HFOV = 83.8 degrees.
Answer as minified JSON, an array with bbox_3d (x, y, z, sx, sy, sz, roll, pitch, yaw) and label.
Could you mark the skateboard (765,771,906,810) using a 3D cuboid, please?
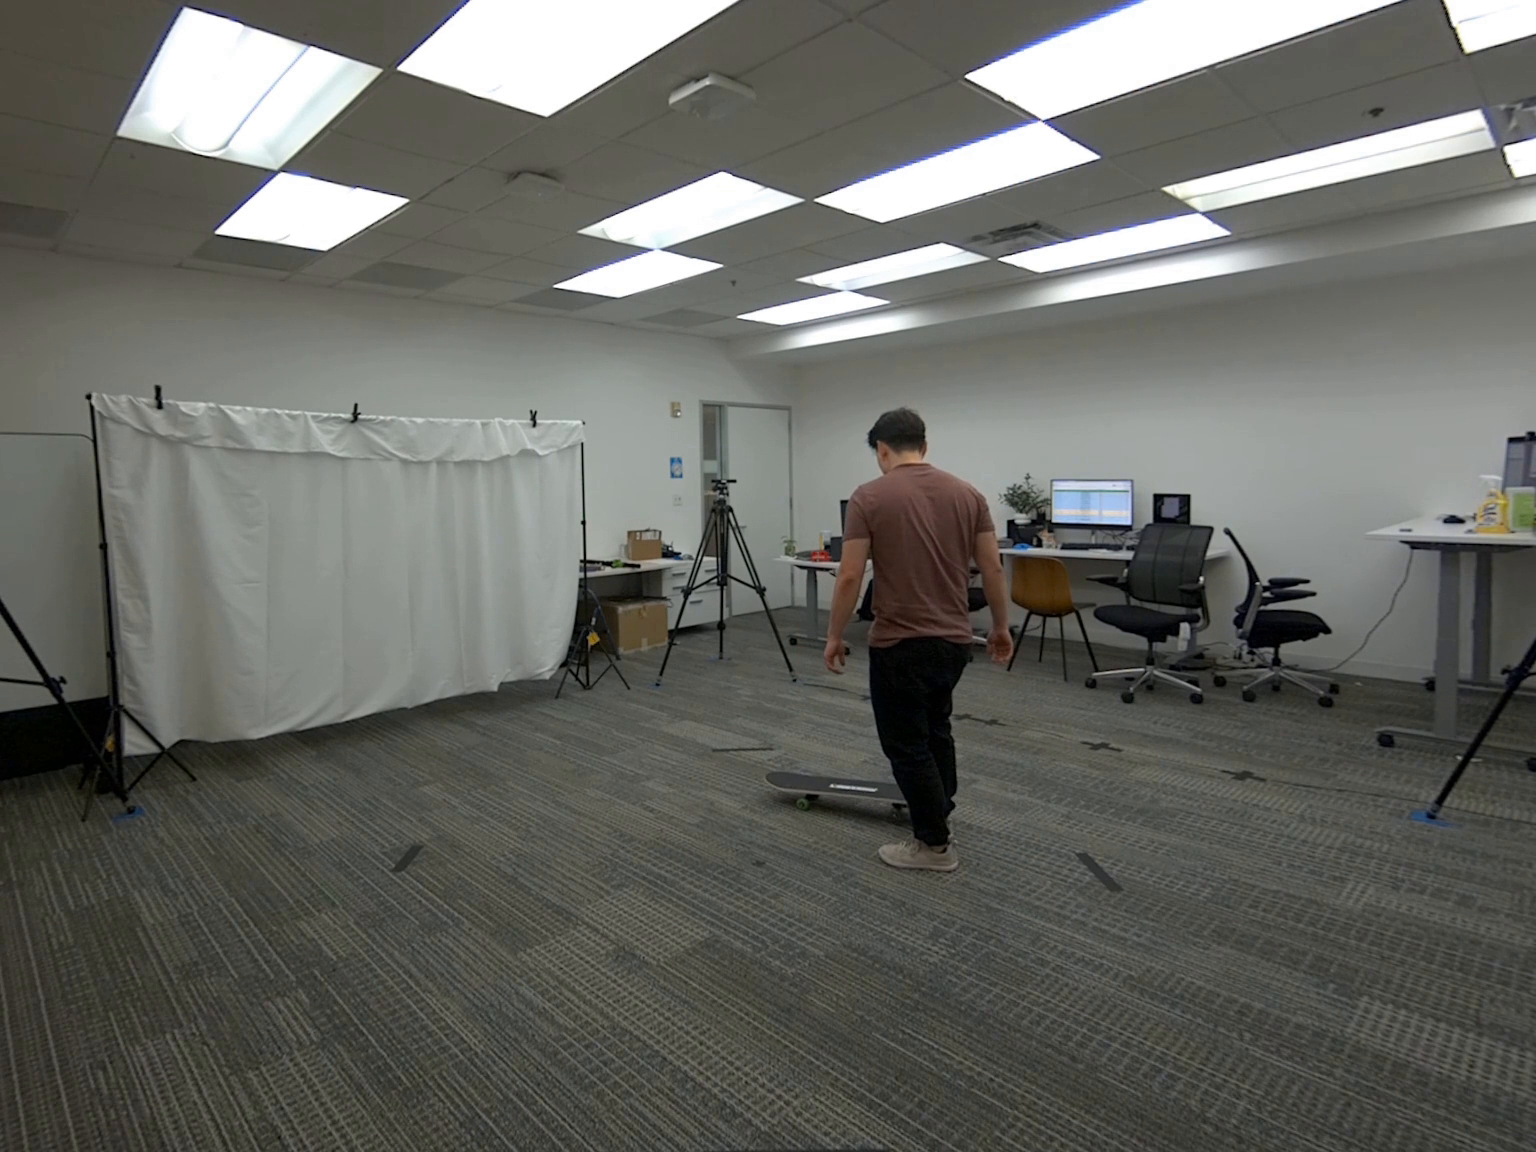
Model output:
[{"bbox_3d":[0.362,0.922,3.591,0.803,0.110,0.190,0,6,25],"label":"skateboard"}]
